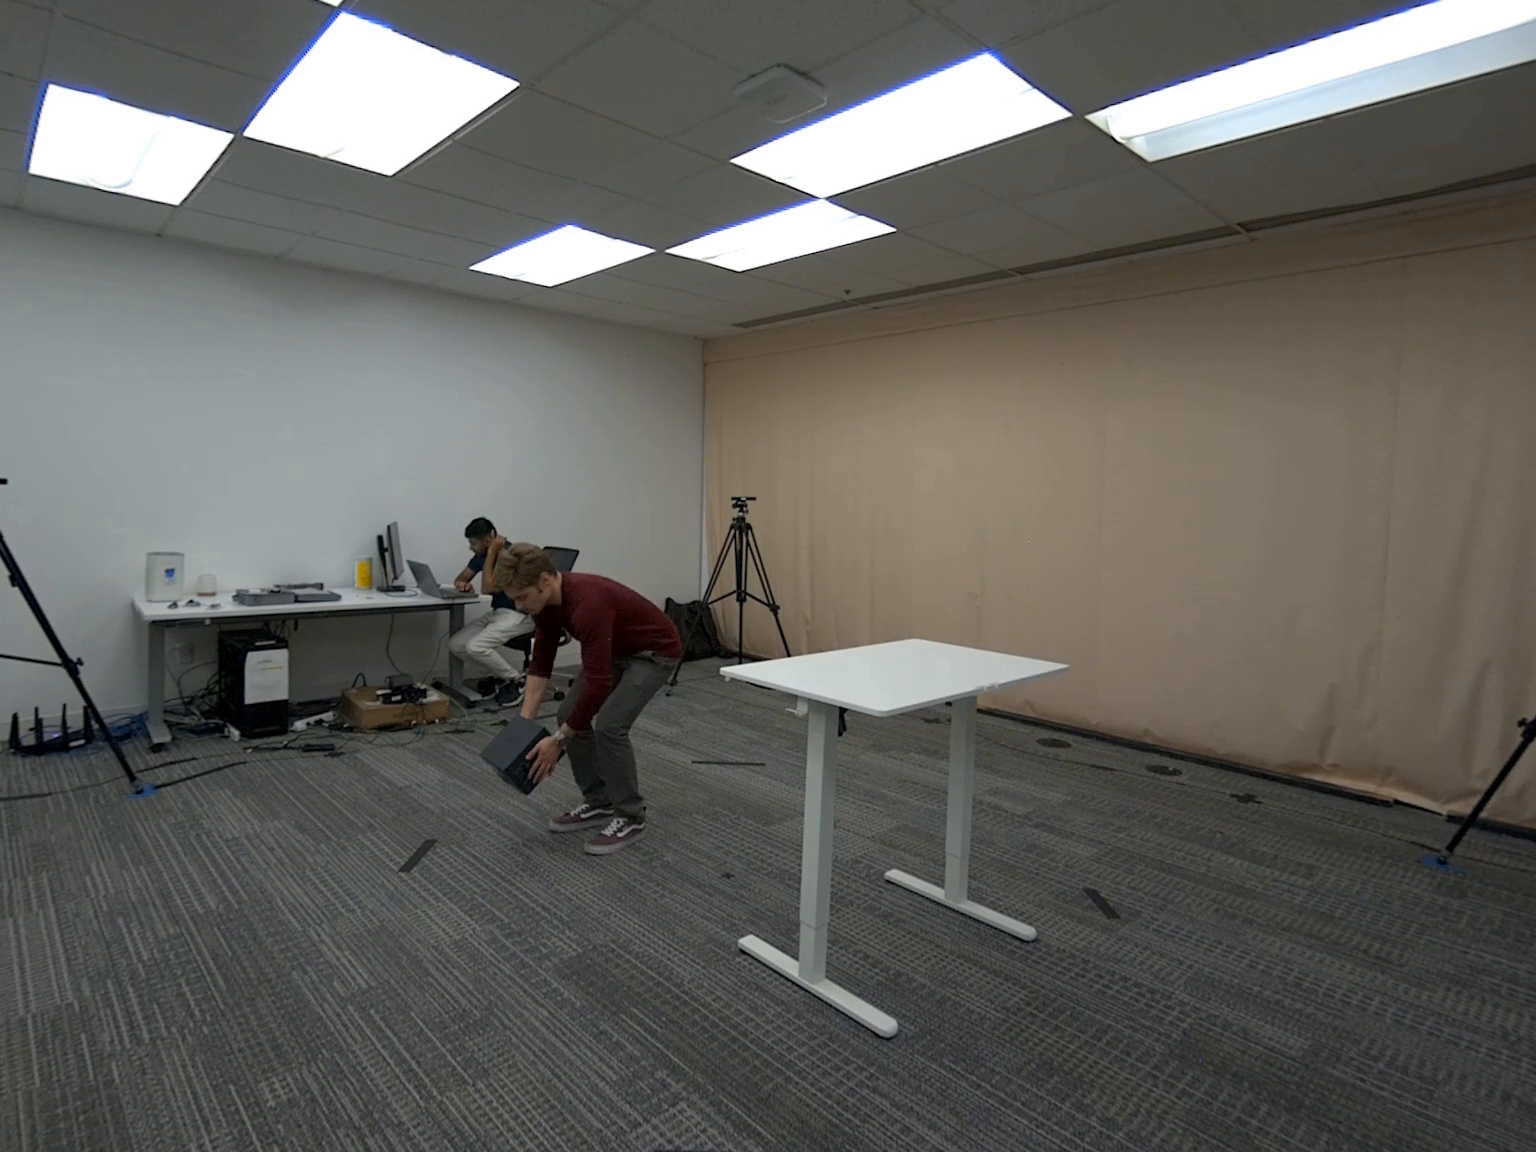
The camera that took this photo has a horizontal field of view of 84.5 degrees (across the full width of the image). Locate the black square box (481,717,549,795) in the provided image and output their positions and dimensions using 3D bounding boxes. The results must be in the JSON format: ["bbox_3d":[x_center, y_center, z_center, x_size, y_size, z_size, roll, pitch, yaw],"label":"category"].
[{"bbox_3d":[-0.969,0.683,3.255,0.234,0.152,0.217,10,50,50],"label":"black square box"}]
